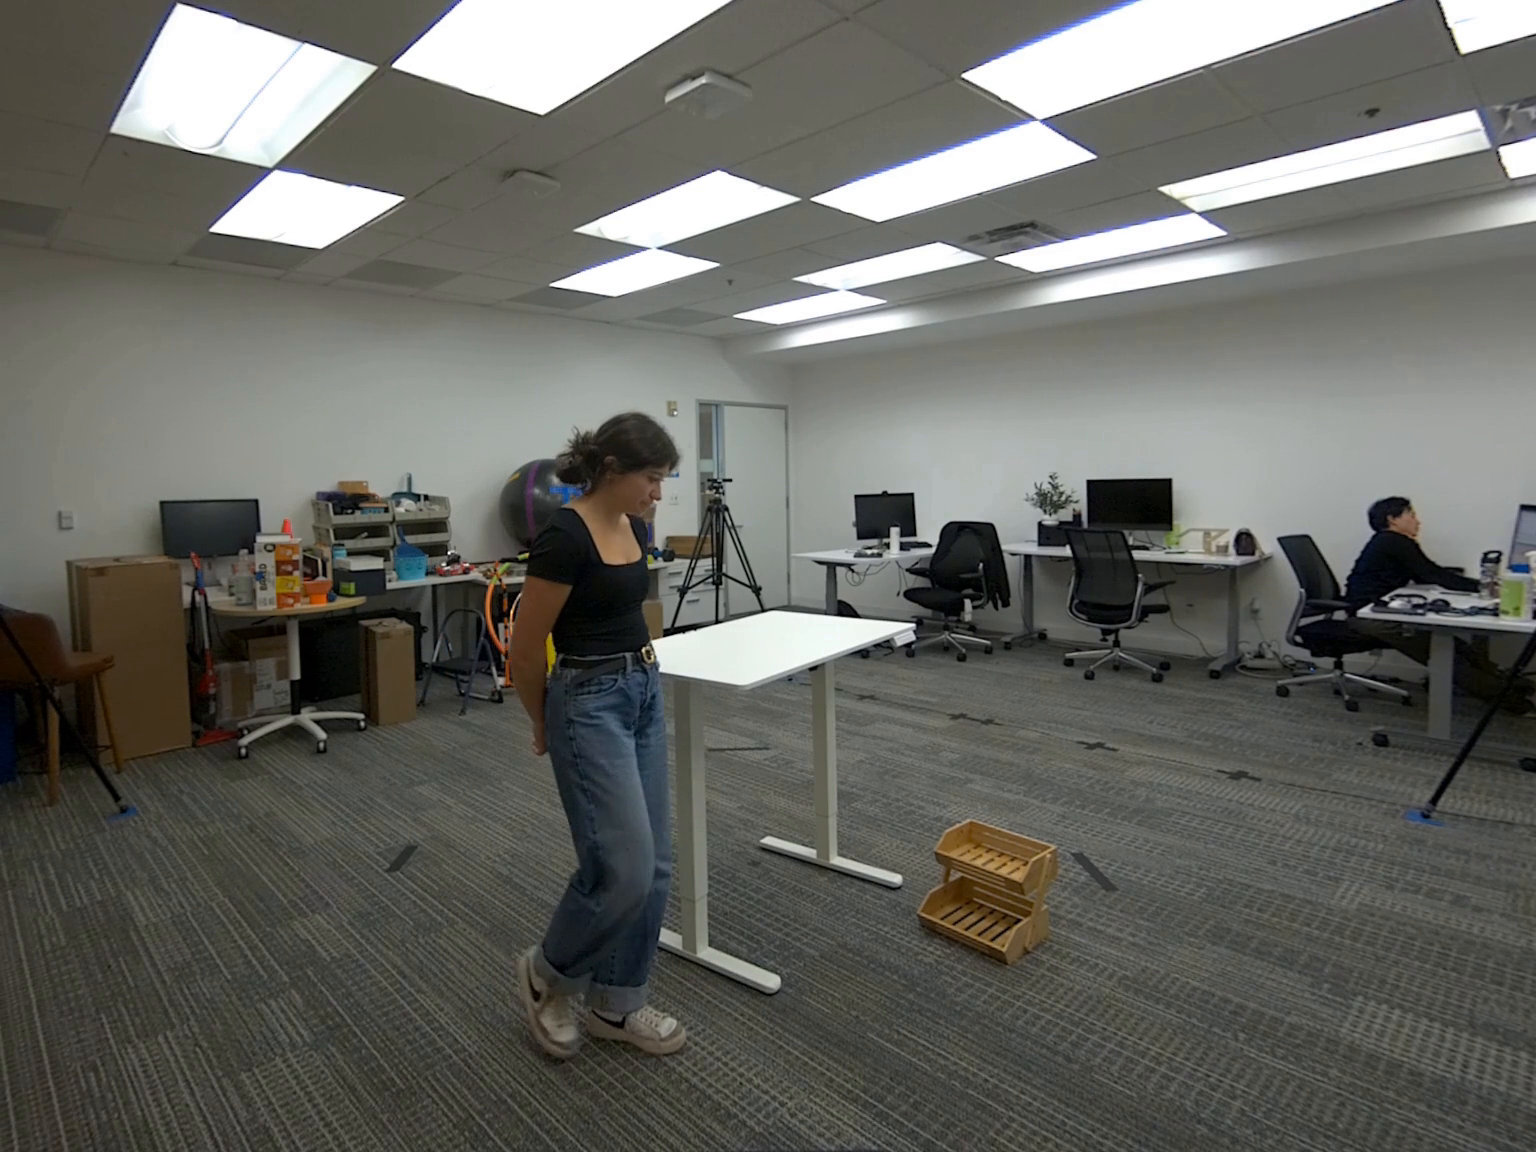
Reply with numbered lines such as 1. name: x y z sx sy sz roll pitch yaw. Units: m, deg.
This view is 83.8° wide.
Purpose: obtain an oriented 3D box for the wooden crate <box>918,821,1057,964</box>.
1. wooden crate: 0.678 0.956 2.620 0.294 0.272 0.334 -5 6 -43
